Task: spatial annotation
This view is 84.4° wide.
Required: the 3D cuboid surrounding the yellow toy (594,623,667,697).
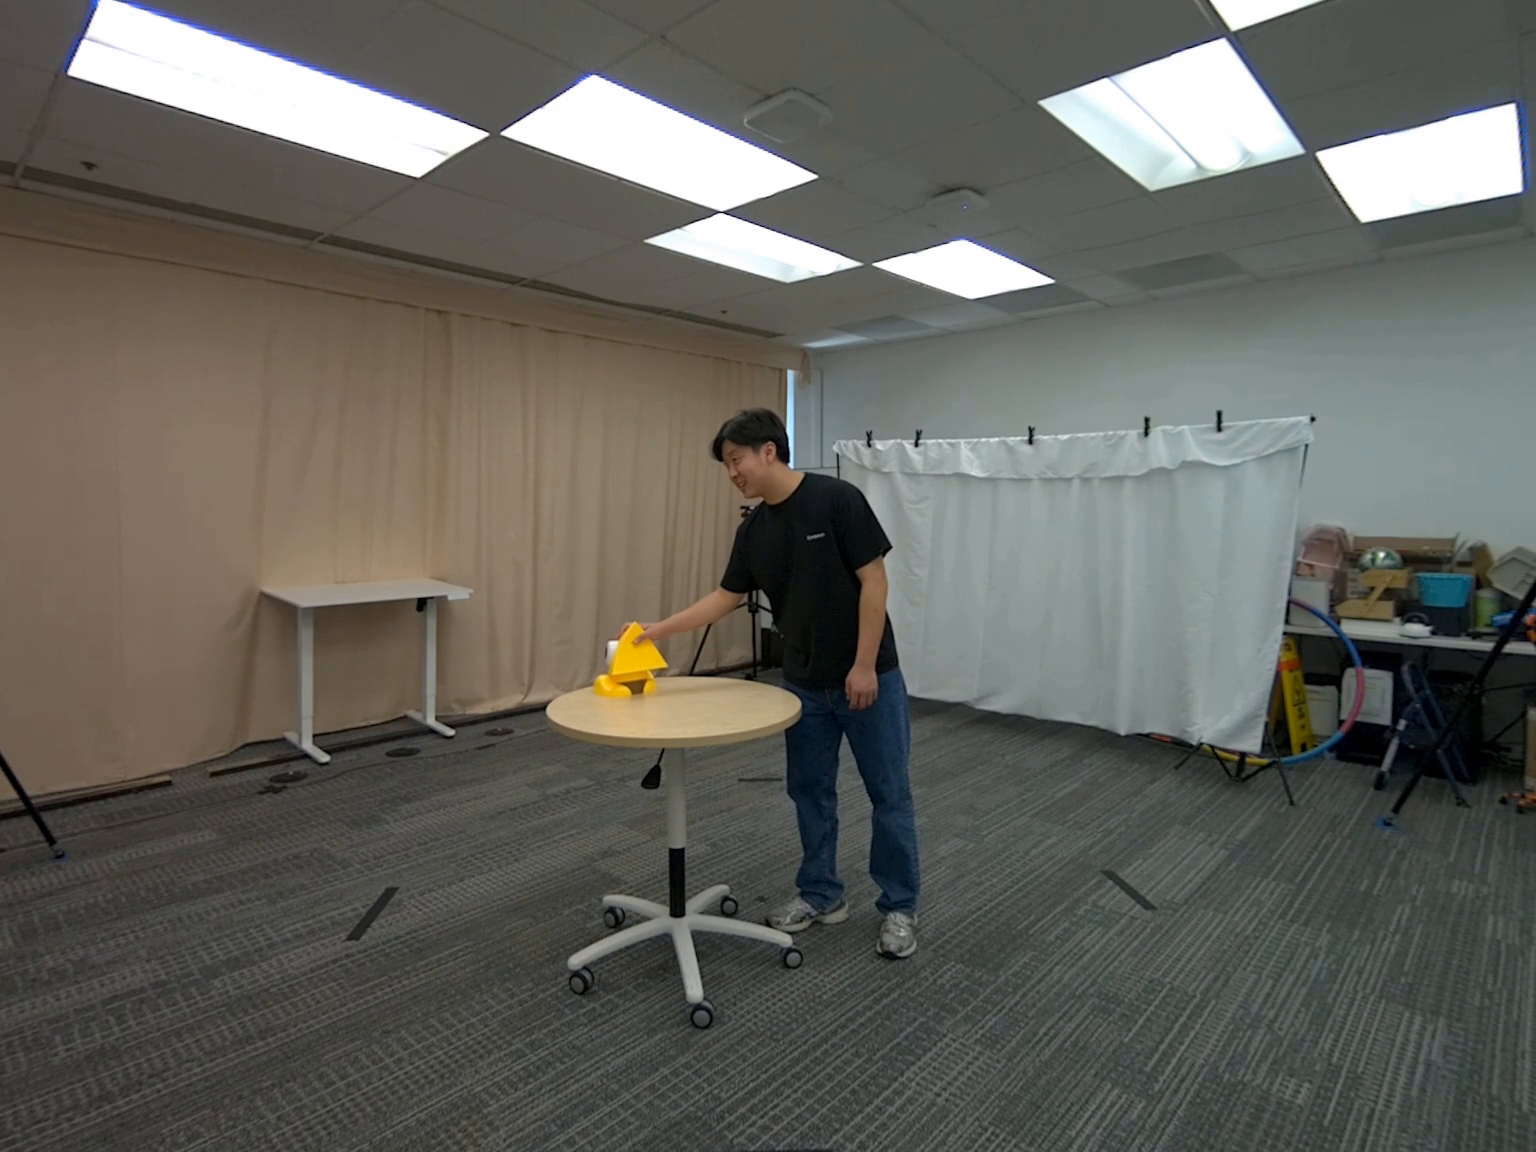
[{"bbox_3d":[-0.458,0.262,2.730,0.199,0.230,0.199,-4,5,-39],"label":"yellow toy"}]
